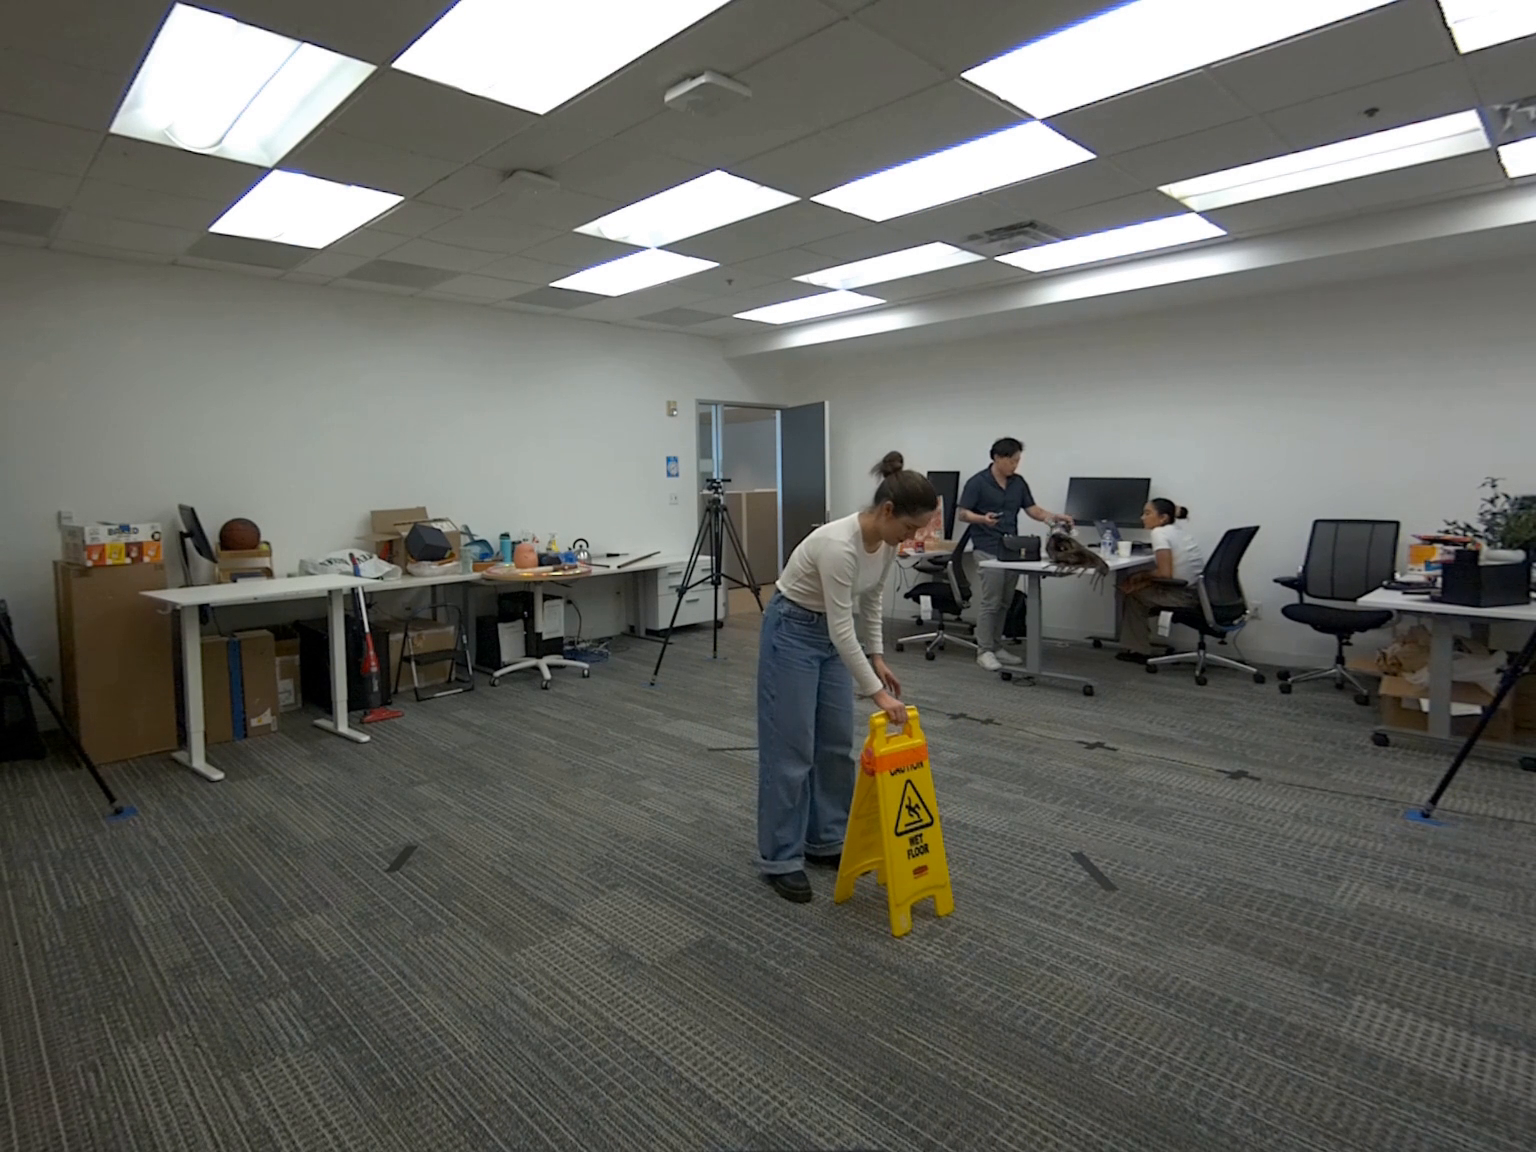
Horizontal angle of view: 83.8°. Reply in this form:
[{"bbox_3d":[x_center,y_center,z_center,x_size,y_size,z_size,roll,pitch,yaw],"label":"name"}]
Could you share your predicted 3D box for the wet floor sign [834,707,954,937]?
[{"bbox_3d":[0.400,0.750,2.756,0.275,0.644,0.298,-3,4,-37],"label":"wet floor sign"}]
